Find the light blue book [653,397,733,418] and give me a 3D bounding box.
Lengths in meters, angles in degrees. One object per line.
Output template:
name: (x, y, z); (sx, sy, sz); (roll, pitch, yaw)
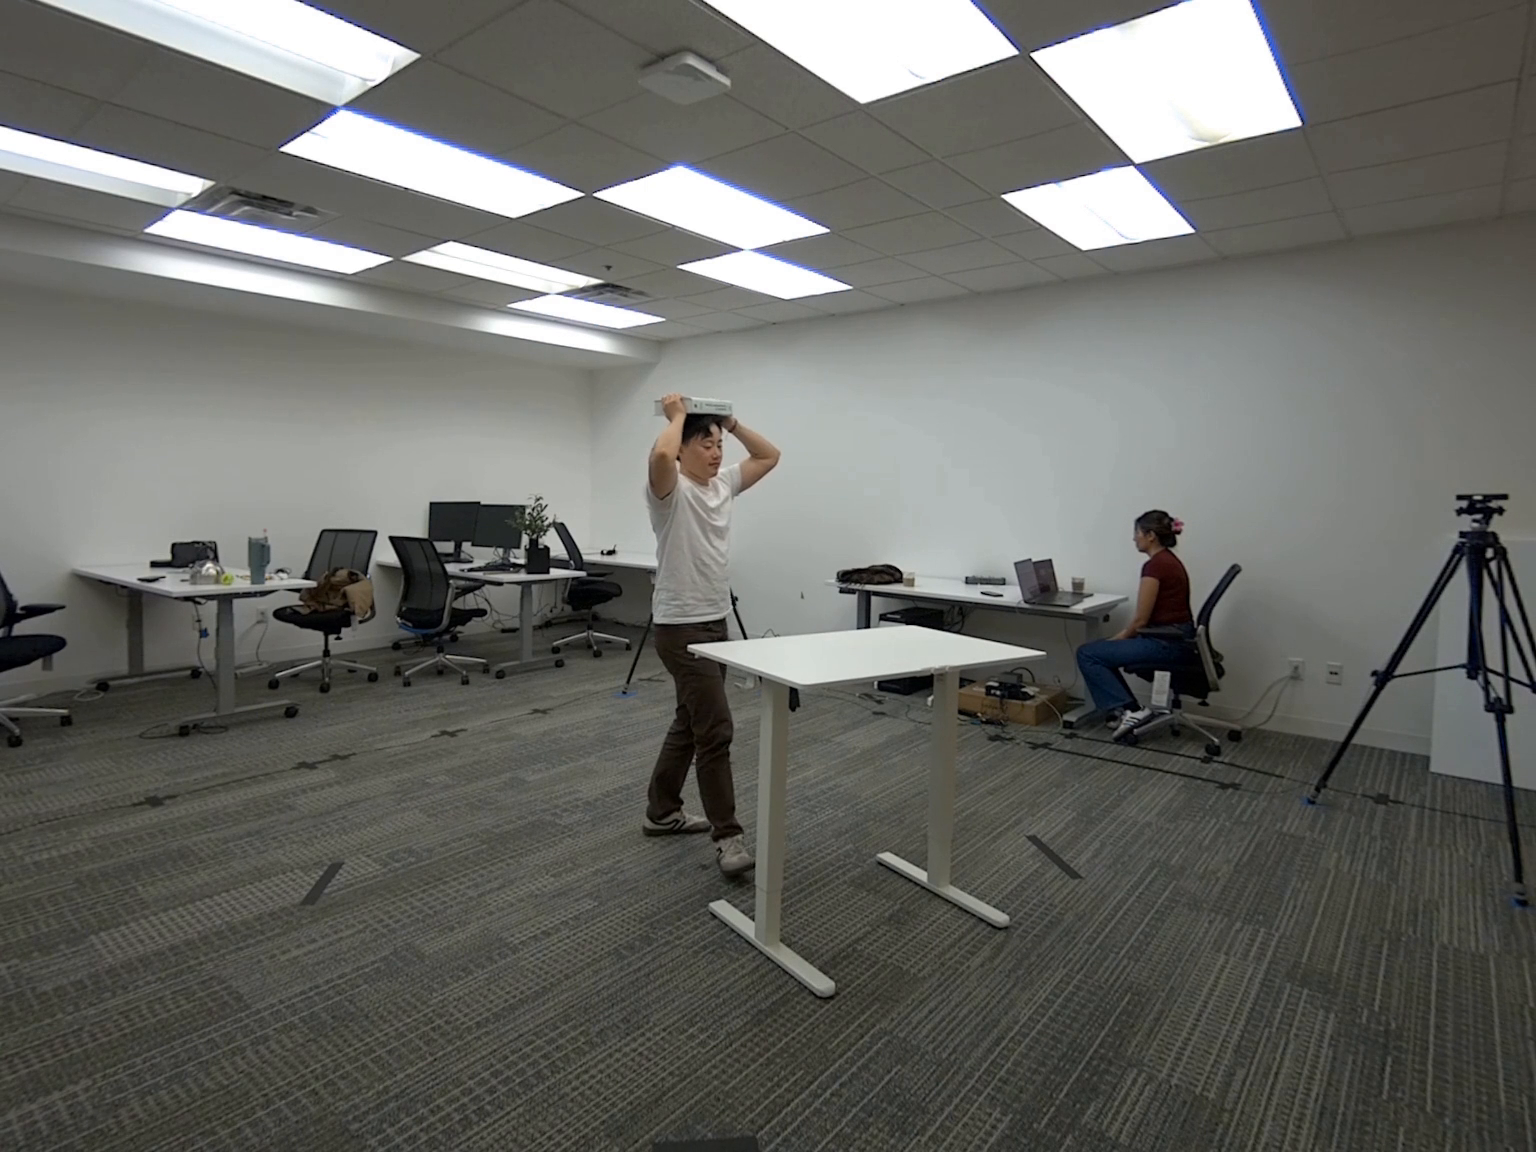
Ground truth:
light blue book: (-0.297, -0.646, 3.264); (0.198, 0.059, 0.254); (4, 9, 38)
